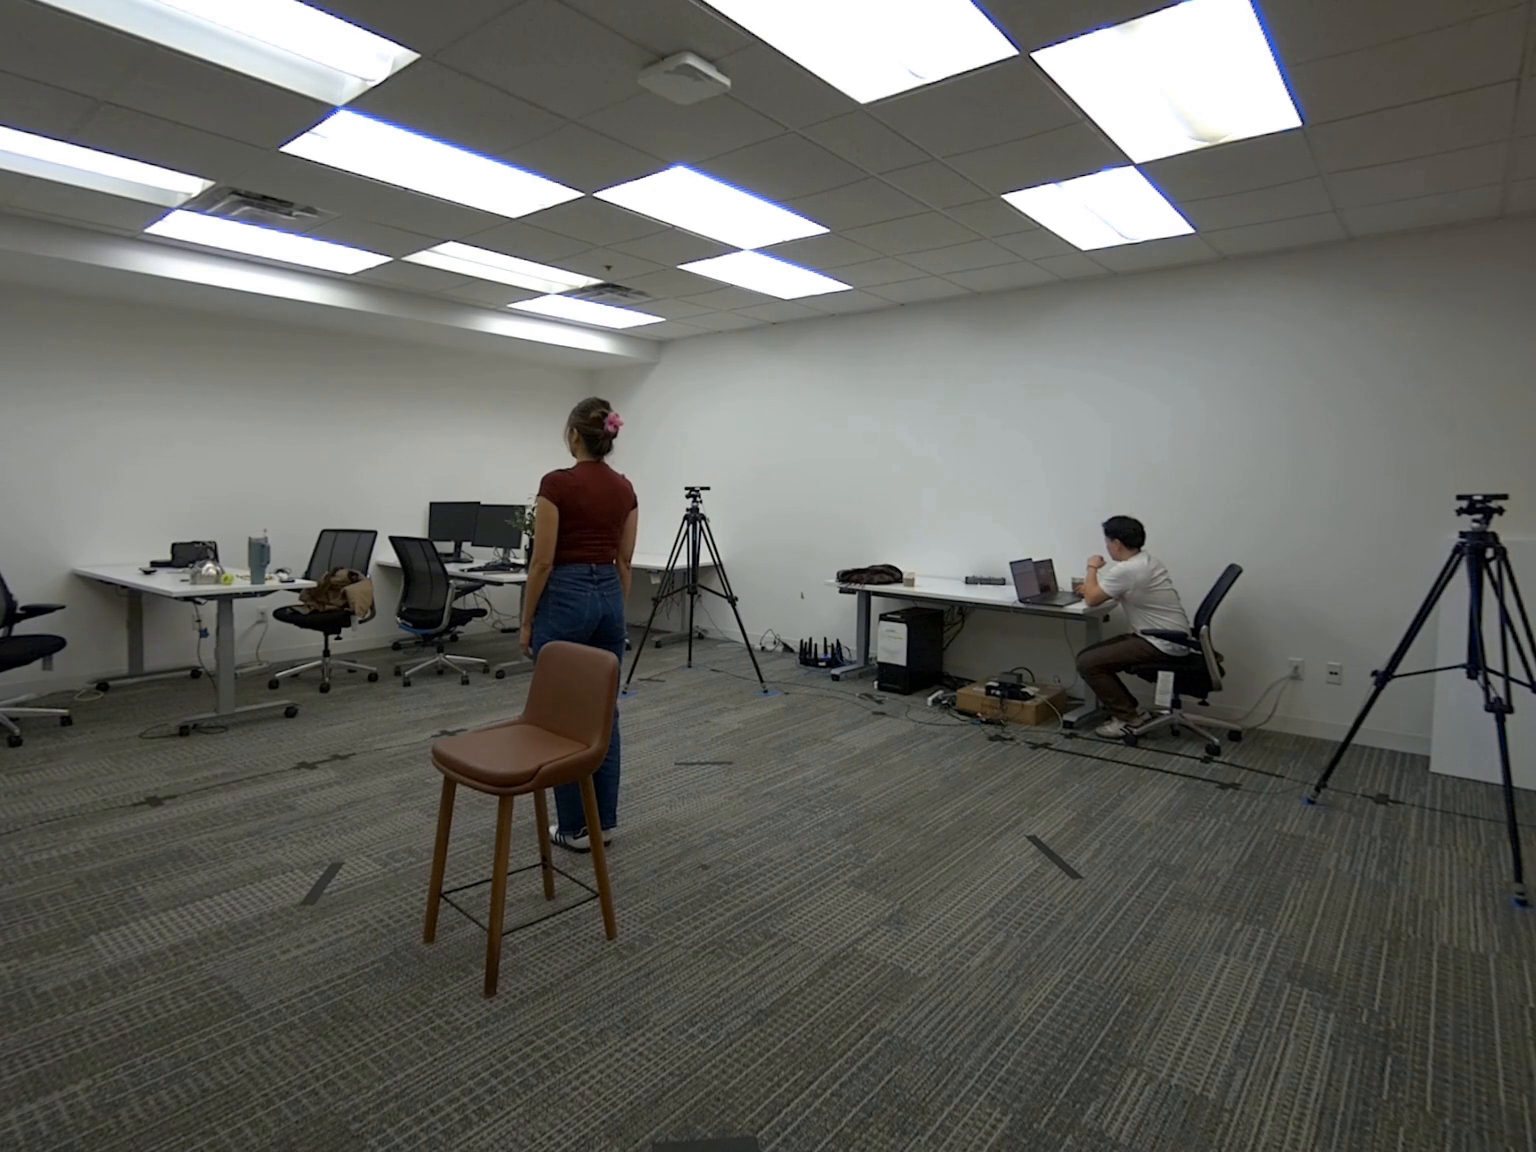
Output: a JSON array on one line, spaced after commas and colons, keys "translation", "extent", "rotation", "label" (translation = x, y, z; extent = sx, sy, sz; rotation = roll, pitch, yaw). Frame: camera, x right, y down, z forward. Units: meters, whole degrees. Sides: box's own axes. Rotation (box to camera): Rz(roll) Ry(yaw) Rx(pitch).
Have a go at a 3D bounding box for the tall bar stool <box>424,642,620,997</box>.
[{"translation": [-0.751, 0.677, 2.577], "extent": [0.472, 0.888, 0.453], "rotation": [4, 4, 44], "label": "tall bar stool"}]
